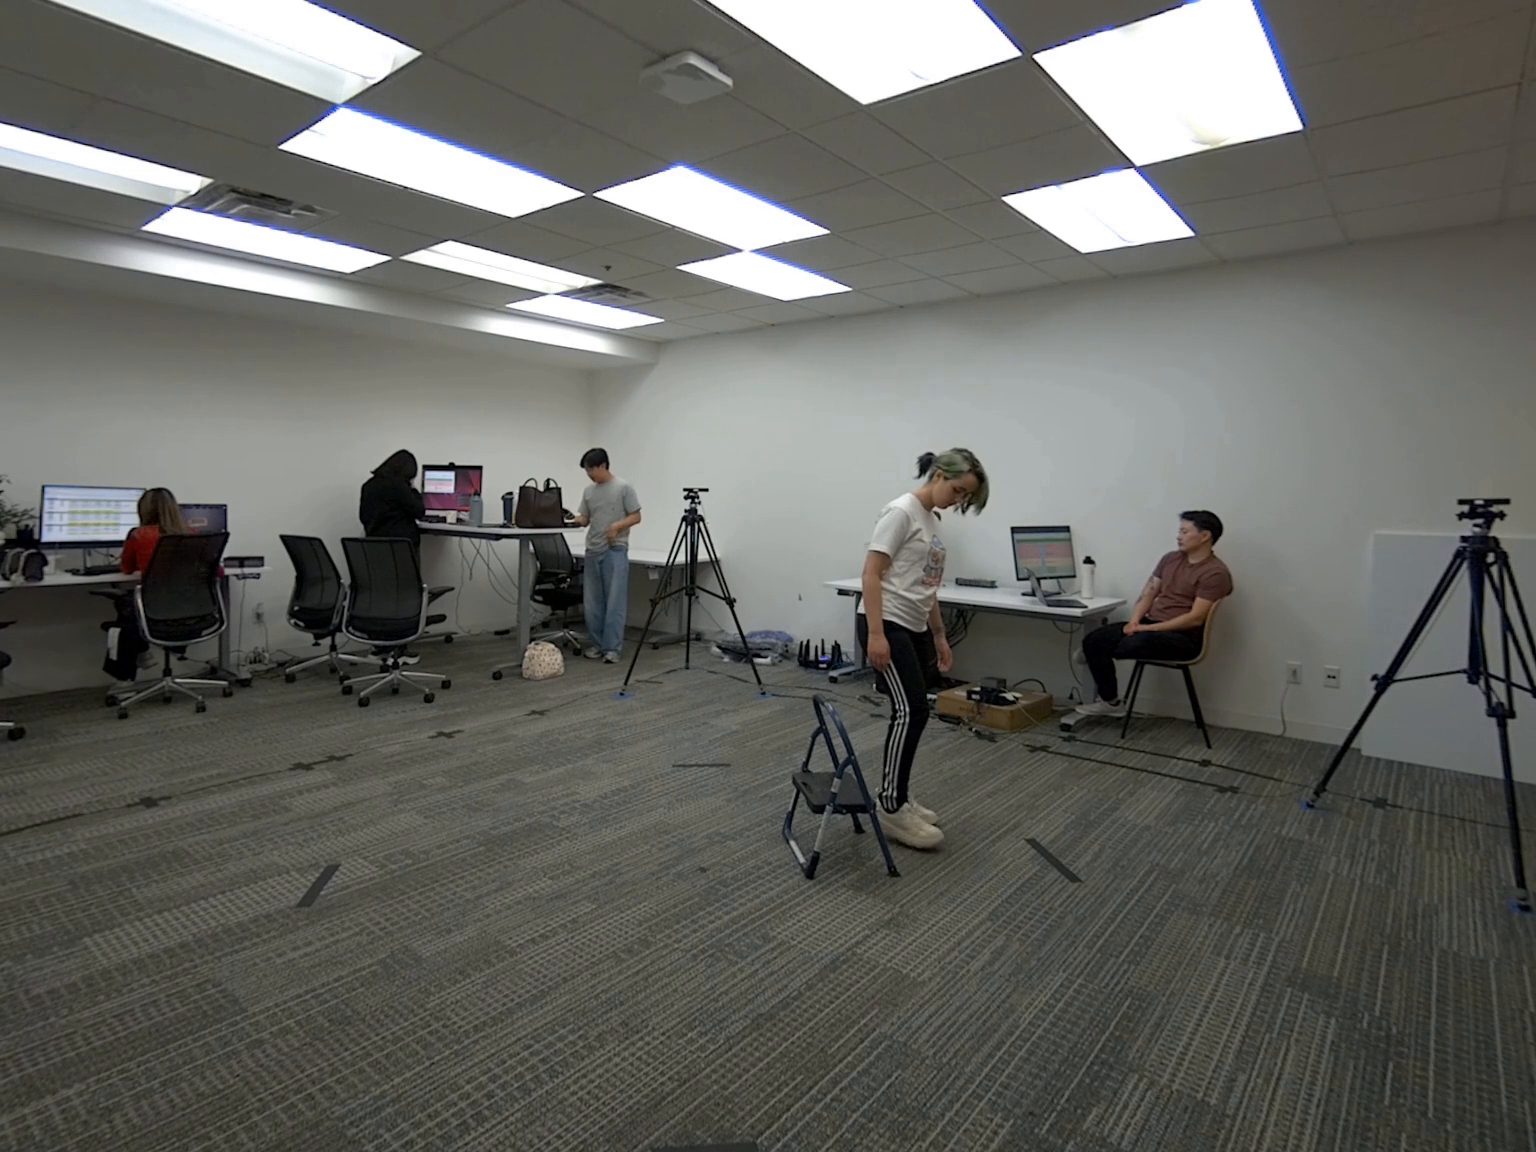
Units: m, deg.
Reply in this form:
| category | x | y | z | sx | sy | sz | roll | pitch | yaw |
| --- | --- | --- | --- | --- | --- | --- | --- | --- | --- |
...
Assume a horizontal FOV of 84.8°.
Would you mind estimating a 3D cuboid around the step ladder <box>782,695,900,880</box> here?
| category | x | y | z | sx | sy | sz | roll | pitch | yaw |
| --- | --- | --- | --- | --- | --- | --- | --- | --- | --- |
| step ladder | 0.268 | 0.766 | 3.252 | 0.345 | 0.605 | 0.437 | 2 | 3 | -11 |
